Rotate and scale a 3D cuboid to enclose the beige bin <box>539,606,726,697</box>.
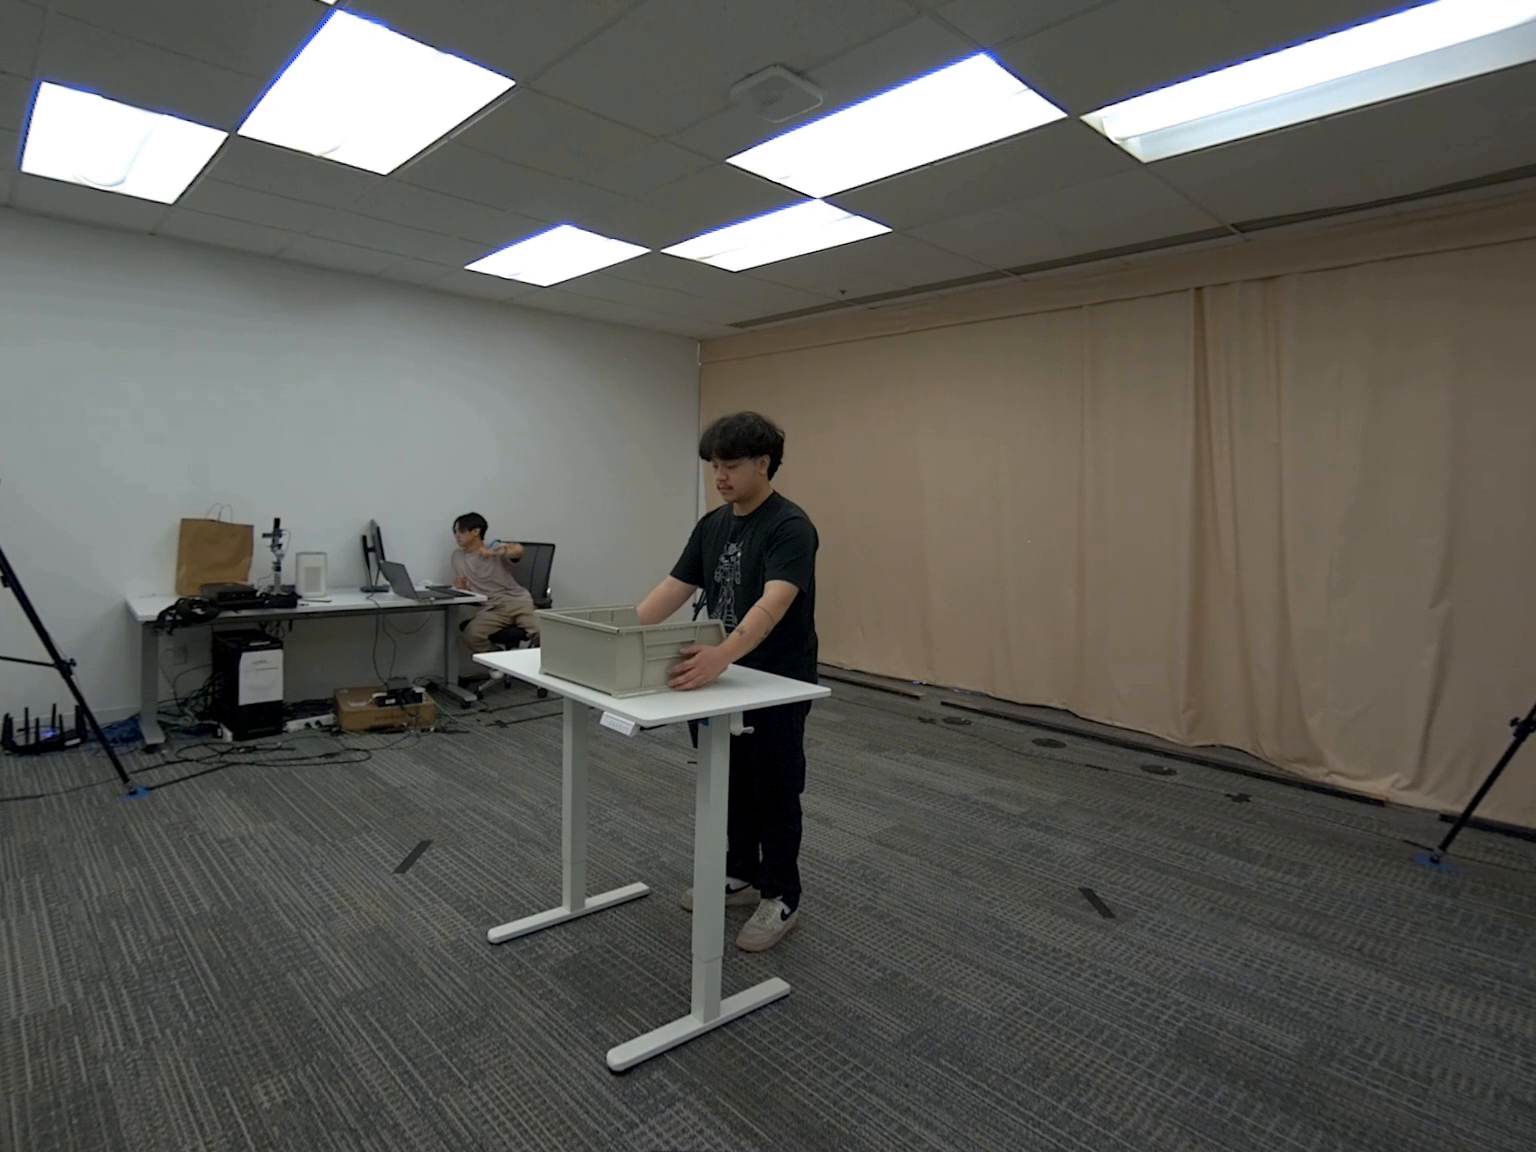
[{"bbox_3d":[-0.396,0.207,2.345,0.369,0.188,0.433,-3,6,-41],"label":"beige bin"}]
